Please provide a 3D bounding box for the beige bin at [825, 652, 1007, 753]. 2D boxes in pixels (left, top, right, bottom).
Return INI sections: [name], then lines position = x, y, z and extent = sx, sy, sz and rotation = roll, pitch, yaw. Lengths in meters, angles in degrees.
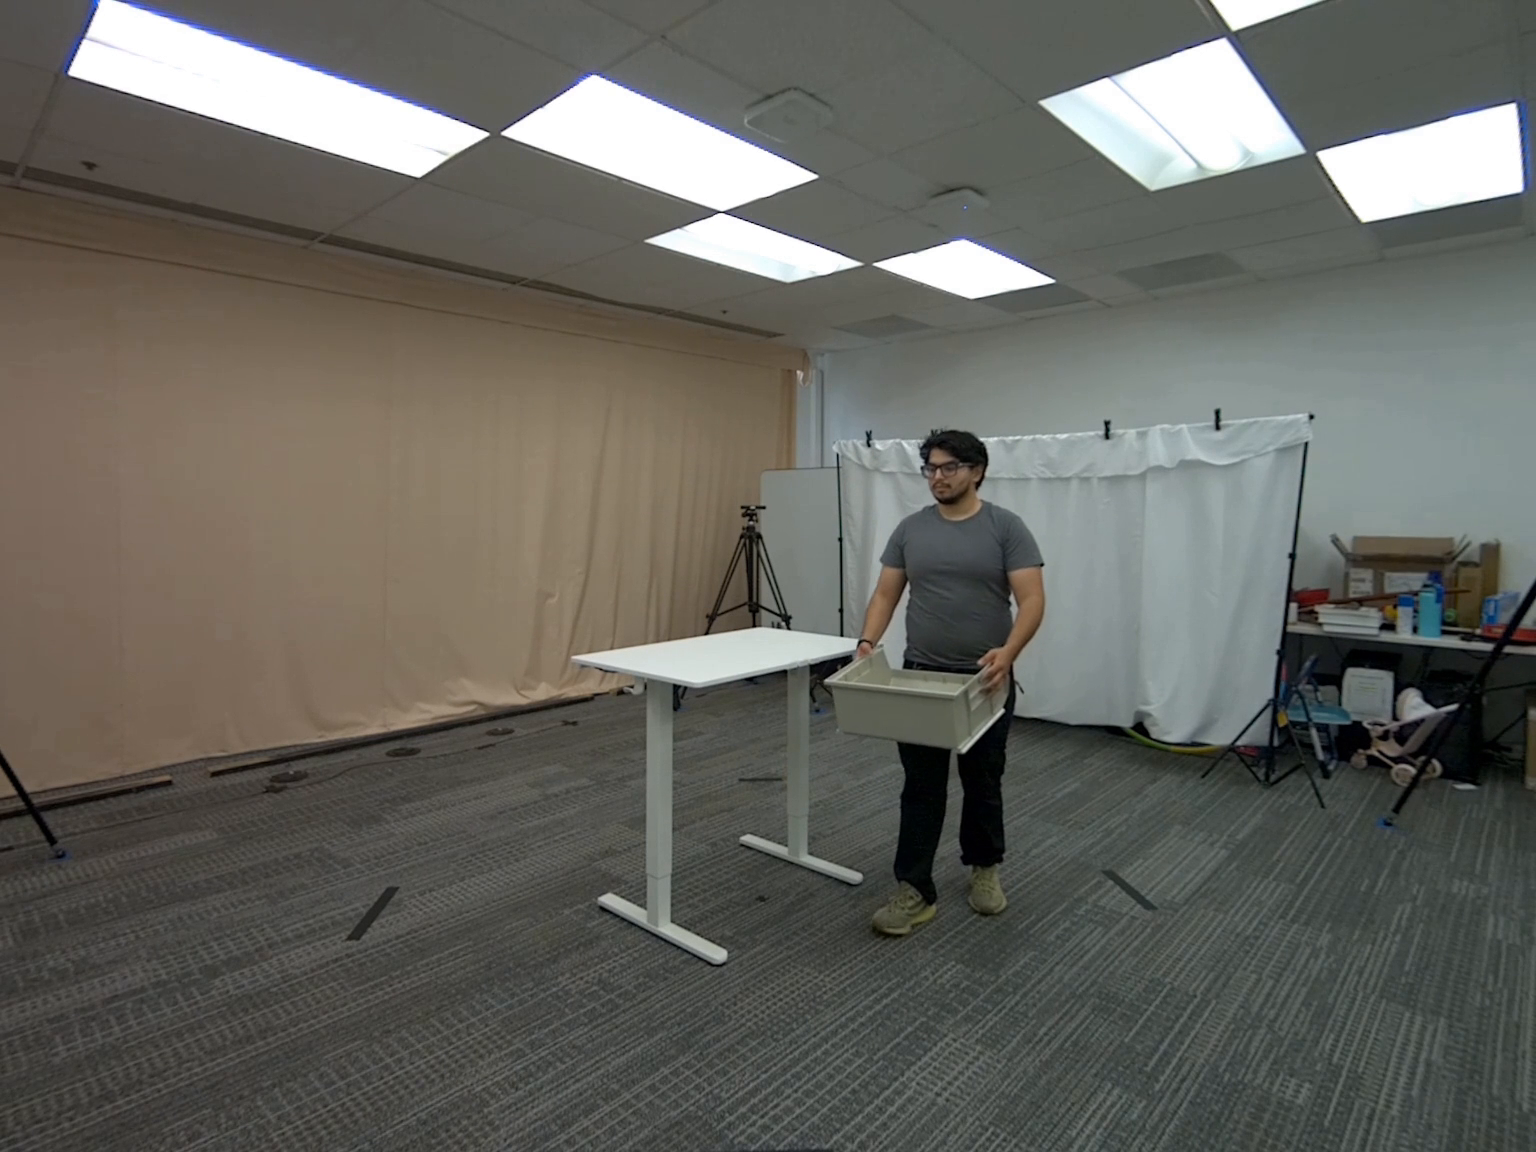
[beige bin]
position = 0.457, 0.354, 2.556
extent = 0.436, 0.187, 0.369
rotation = 1, 16, 38
